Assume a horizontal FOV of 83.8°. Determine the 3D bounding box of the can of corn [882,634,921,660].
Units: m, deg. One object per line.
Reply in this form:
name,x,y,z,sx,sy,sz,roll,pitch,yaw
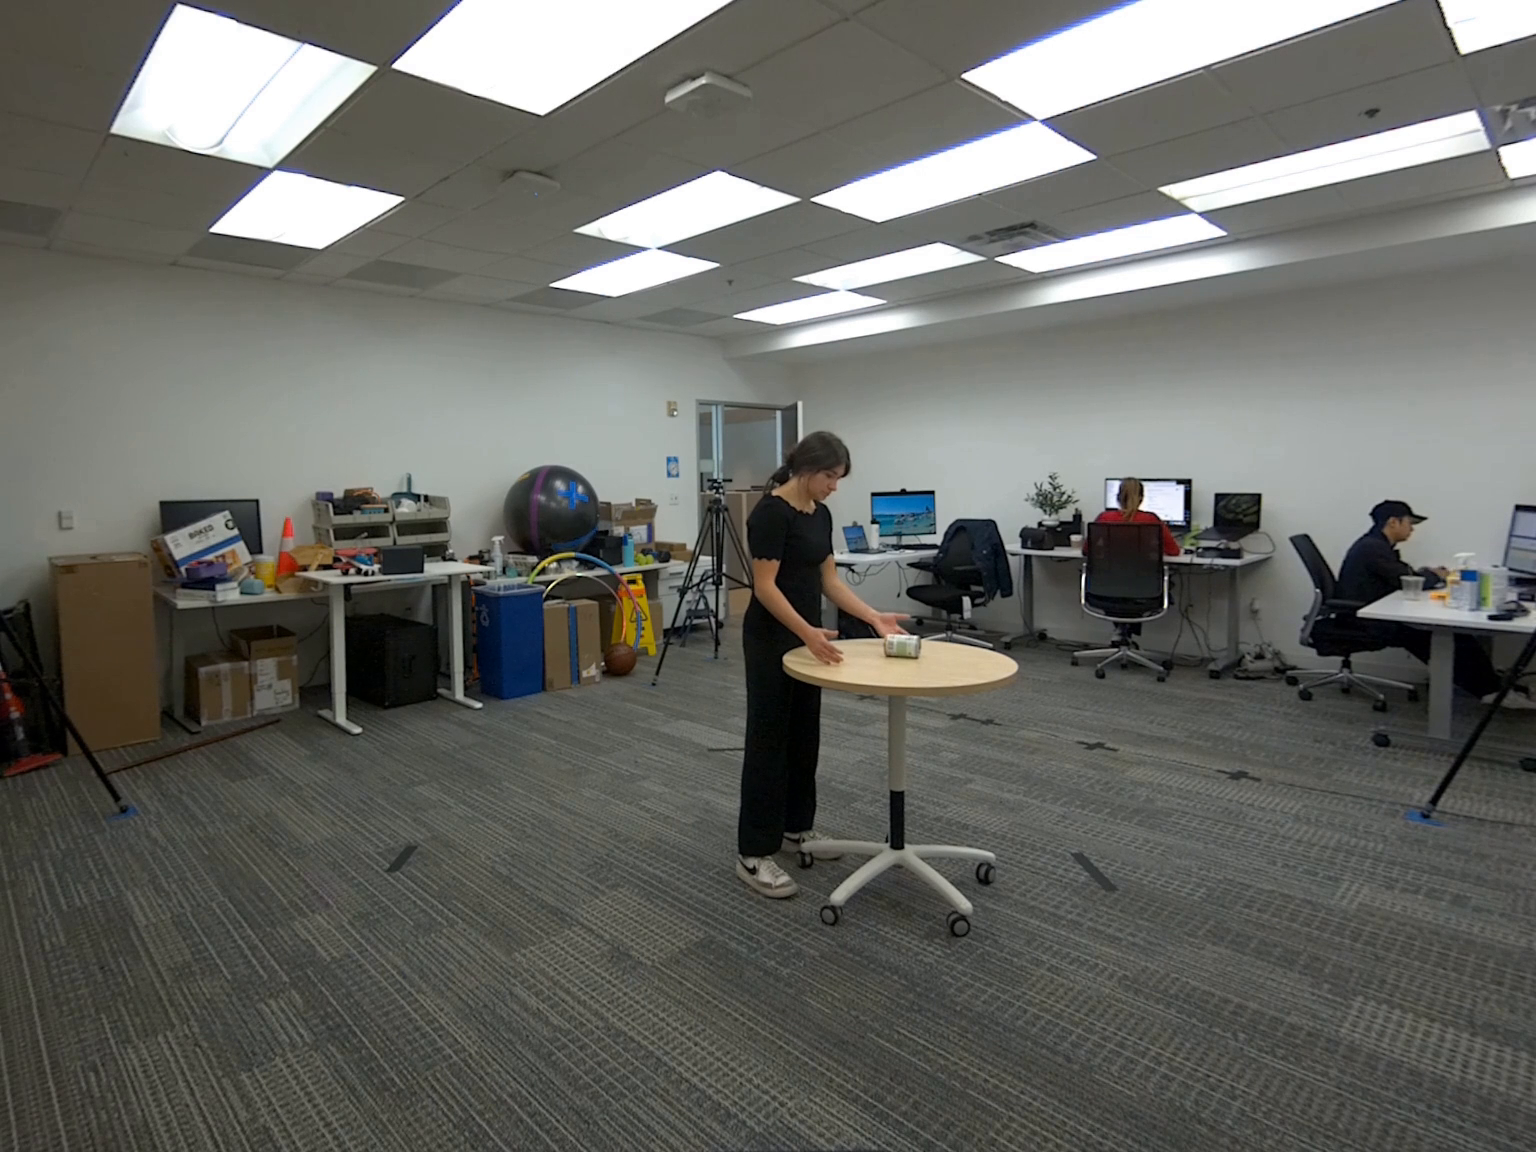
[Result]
can of corn,0.459,0.240,2.902,0.113,0.074,0.073,4,6,20
